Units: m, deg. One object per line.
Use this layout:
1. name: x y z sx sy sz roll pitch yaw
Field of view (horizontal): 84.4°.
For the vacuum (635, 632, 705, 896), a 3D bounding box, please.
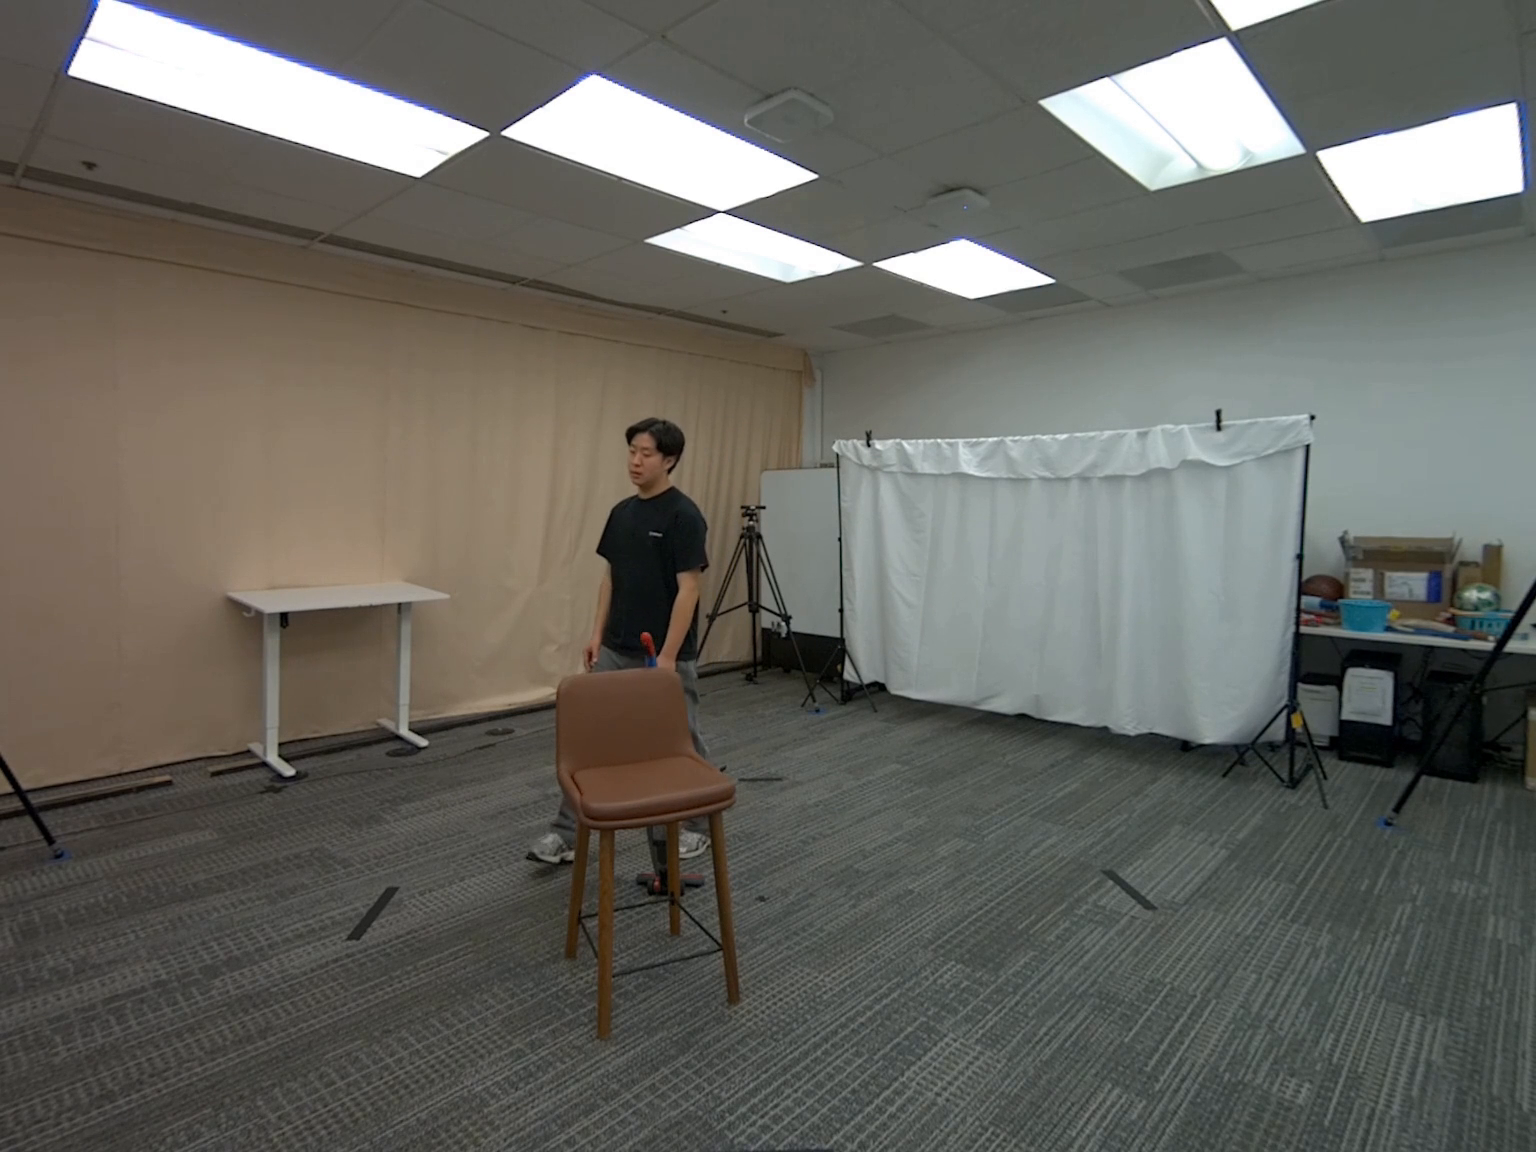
1. vacuum: -0.381 0.656 2.862 0.254 1.033 0.145 -1 24 3
